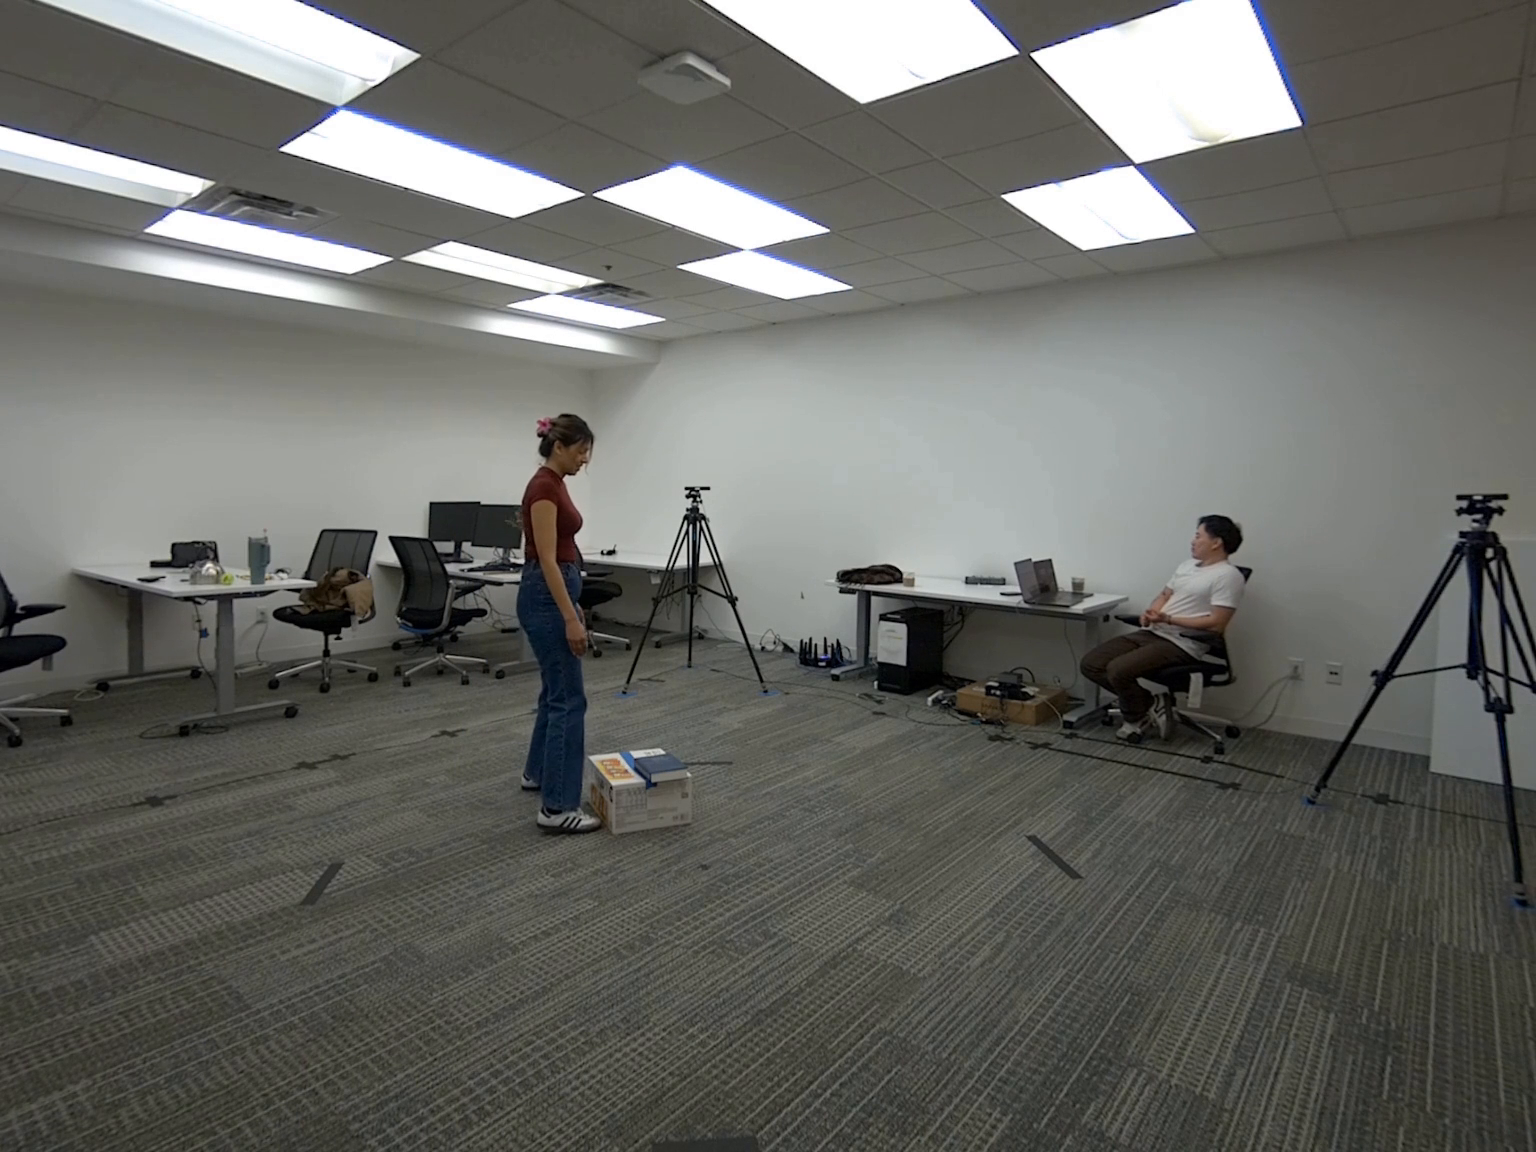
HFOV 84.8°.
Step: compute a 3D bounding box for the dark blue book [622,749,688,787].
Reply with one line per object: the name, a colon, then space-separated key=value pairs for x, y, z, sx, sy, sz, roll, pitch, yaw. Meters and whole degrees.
dark blue book: x=-0.466 y=0.799 z=3.549 sx=0.160 sy=0.045 sz=0.251 roll=-4 pitch=4 yaw=-24
